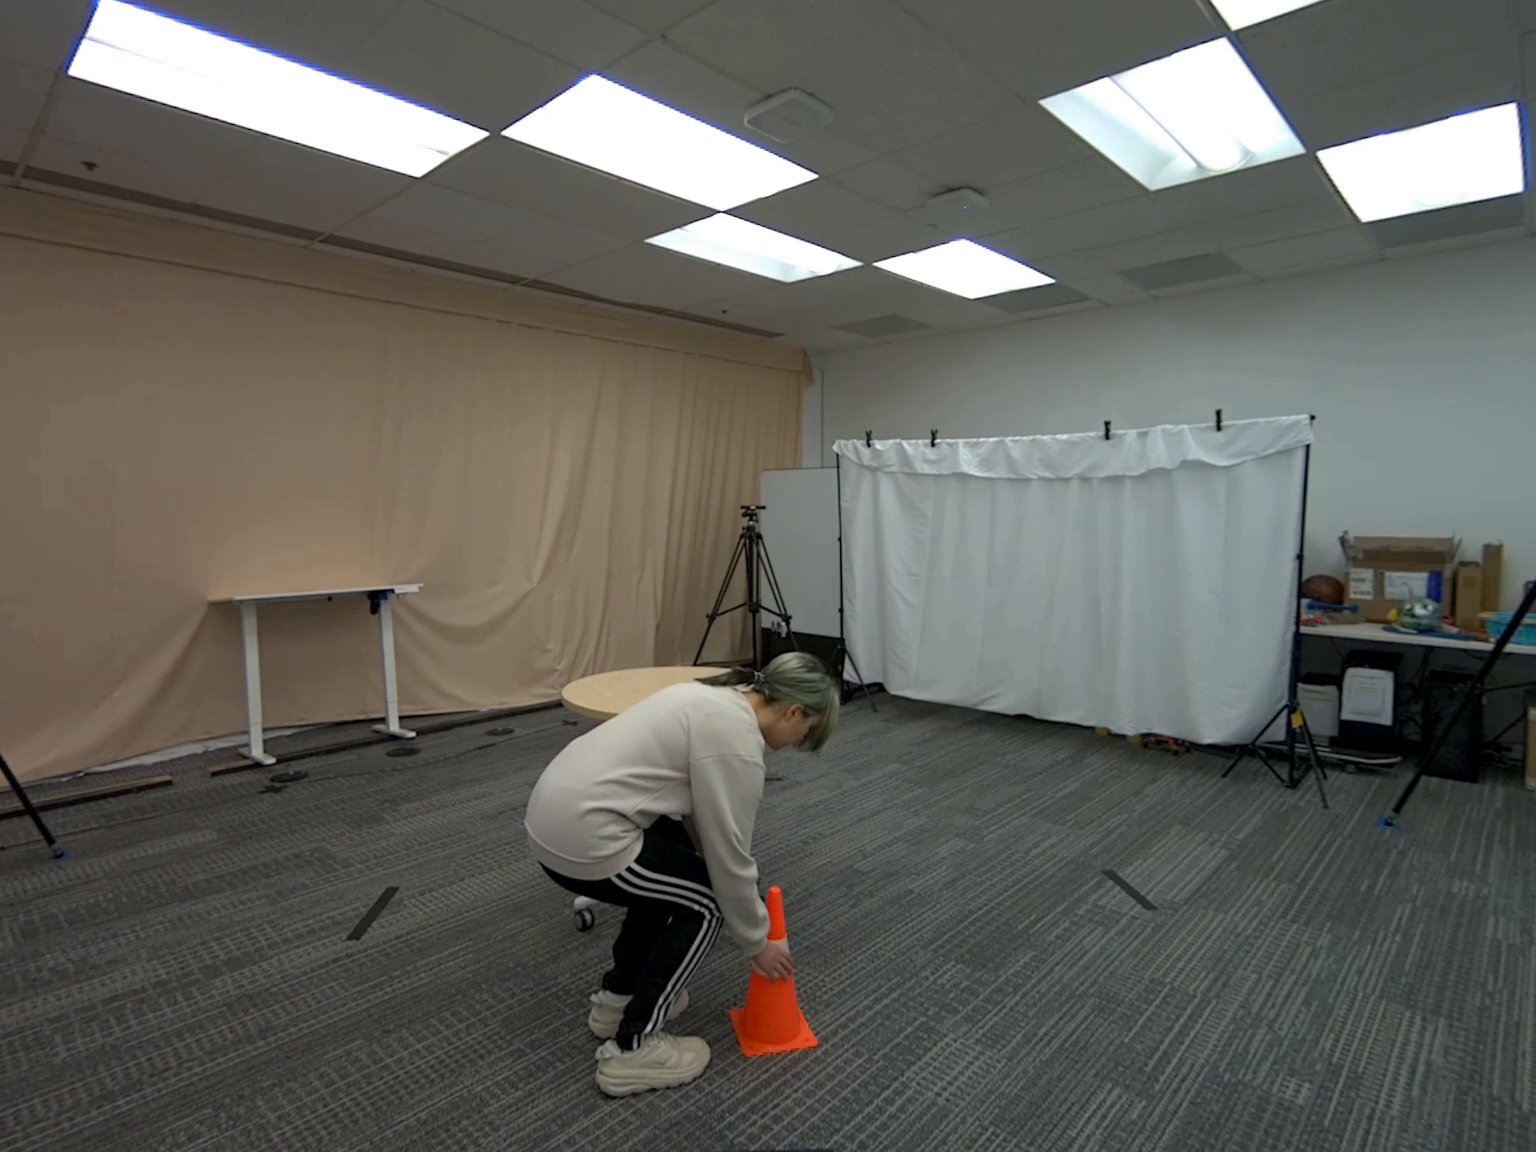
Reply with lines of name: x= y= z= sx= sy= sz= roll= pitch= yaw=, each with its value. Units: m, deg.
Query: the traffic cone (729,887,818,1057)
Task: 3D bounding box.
traffic cone: x=0.013 y=1.022 z=2.219 sx=0.201 sy=0.382 sz=0.208 roll=-1 pitch=6 yaw=-11
